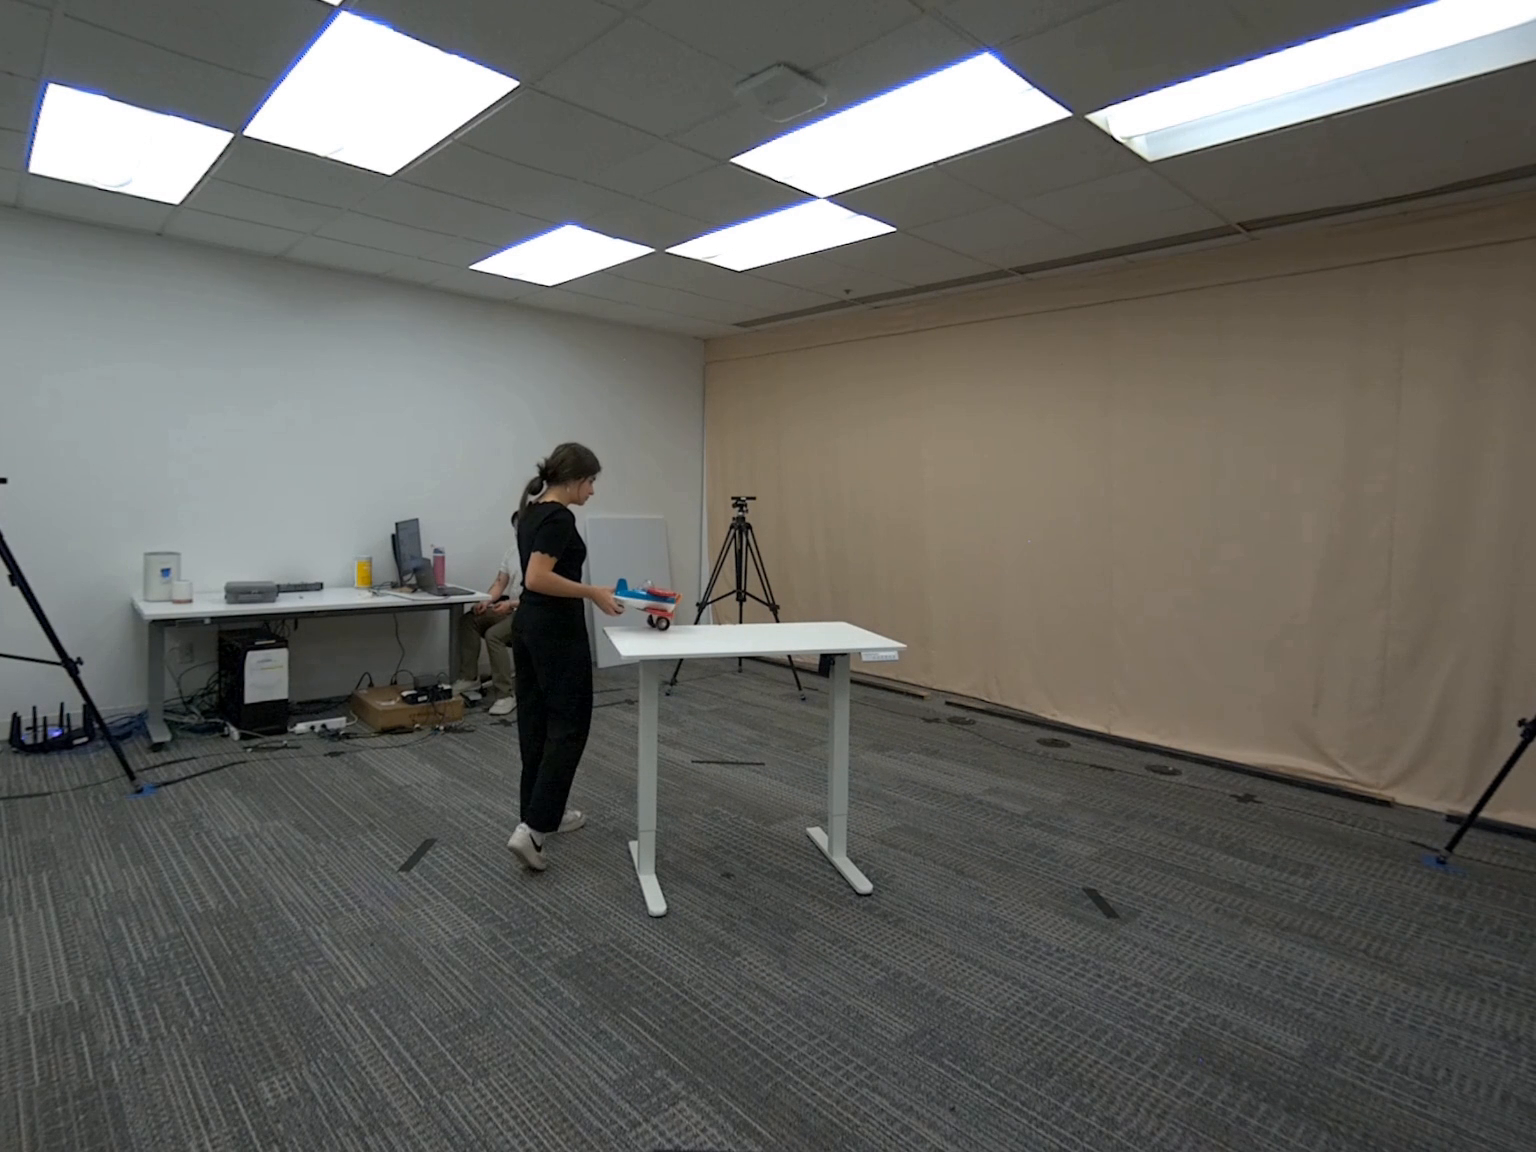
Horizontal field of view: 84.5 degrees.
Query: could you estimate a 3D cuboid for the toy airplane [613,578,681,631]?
[{"bbox_3d":[-0.469,0.102,3.208,0.258,0.157,0.251,16,-10,34],"label":"toy airplane"}]
